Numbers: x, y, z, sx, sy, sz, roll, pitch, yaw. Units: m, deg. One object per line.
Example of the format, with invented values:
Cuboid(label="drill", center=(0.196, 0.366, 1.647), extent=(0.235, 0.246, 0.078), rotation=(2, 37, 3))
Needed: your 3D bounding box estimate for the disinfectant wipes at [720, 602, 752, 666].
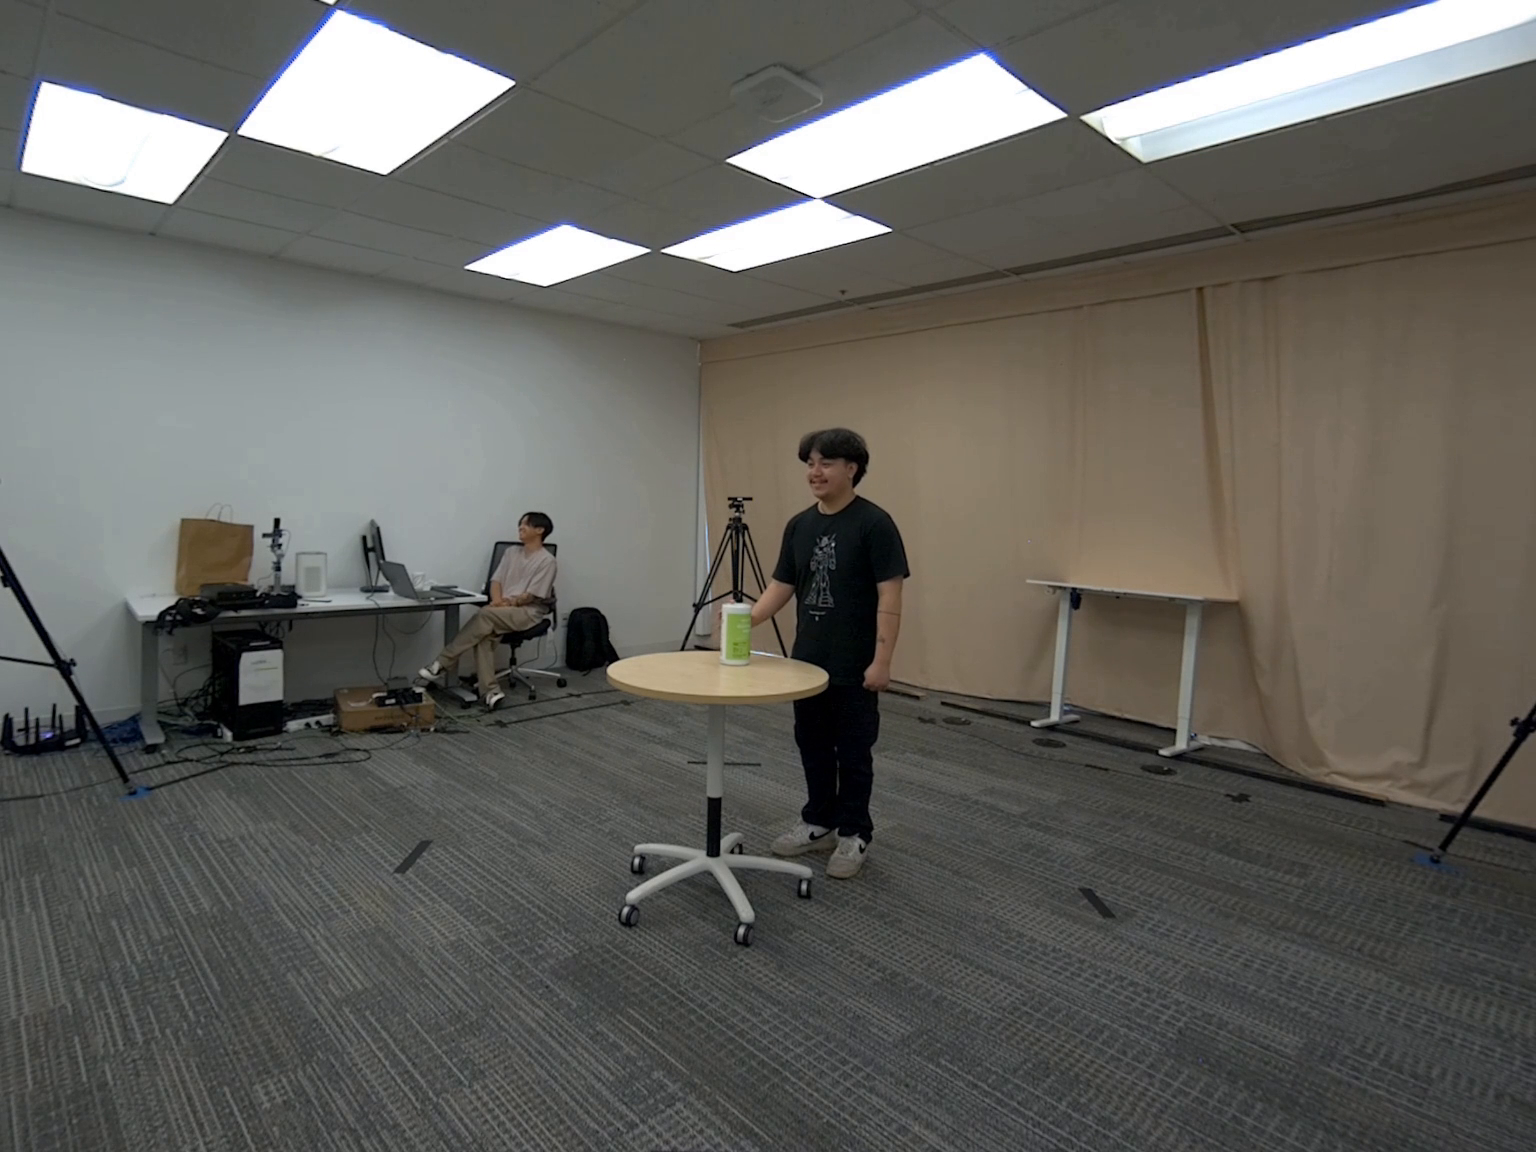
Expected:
Cuboid(label="disinfectant wipes", center=(-0.133, 0.217, 3.060), extent=(0.118, 0.217, 0.118), rotation=(3, 4, -2))
